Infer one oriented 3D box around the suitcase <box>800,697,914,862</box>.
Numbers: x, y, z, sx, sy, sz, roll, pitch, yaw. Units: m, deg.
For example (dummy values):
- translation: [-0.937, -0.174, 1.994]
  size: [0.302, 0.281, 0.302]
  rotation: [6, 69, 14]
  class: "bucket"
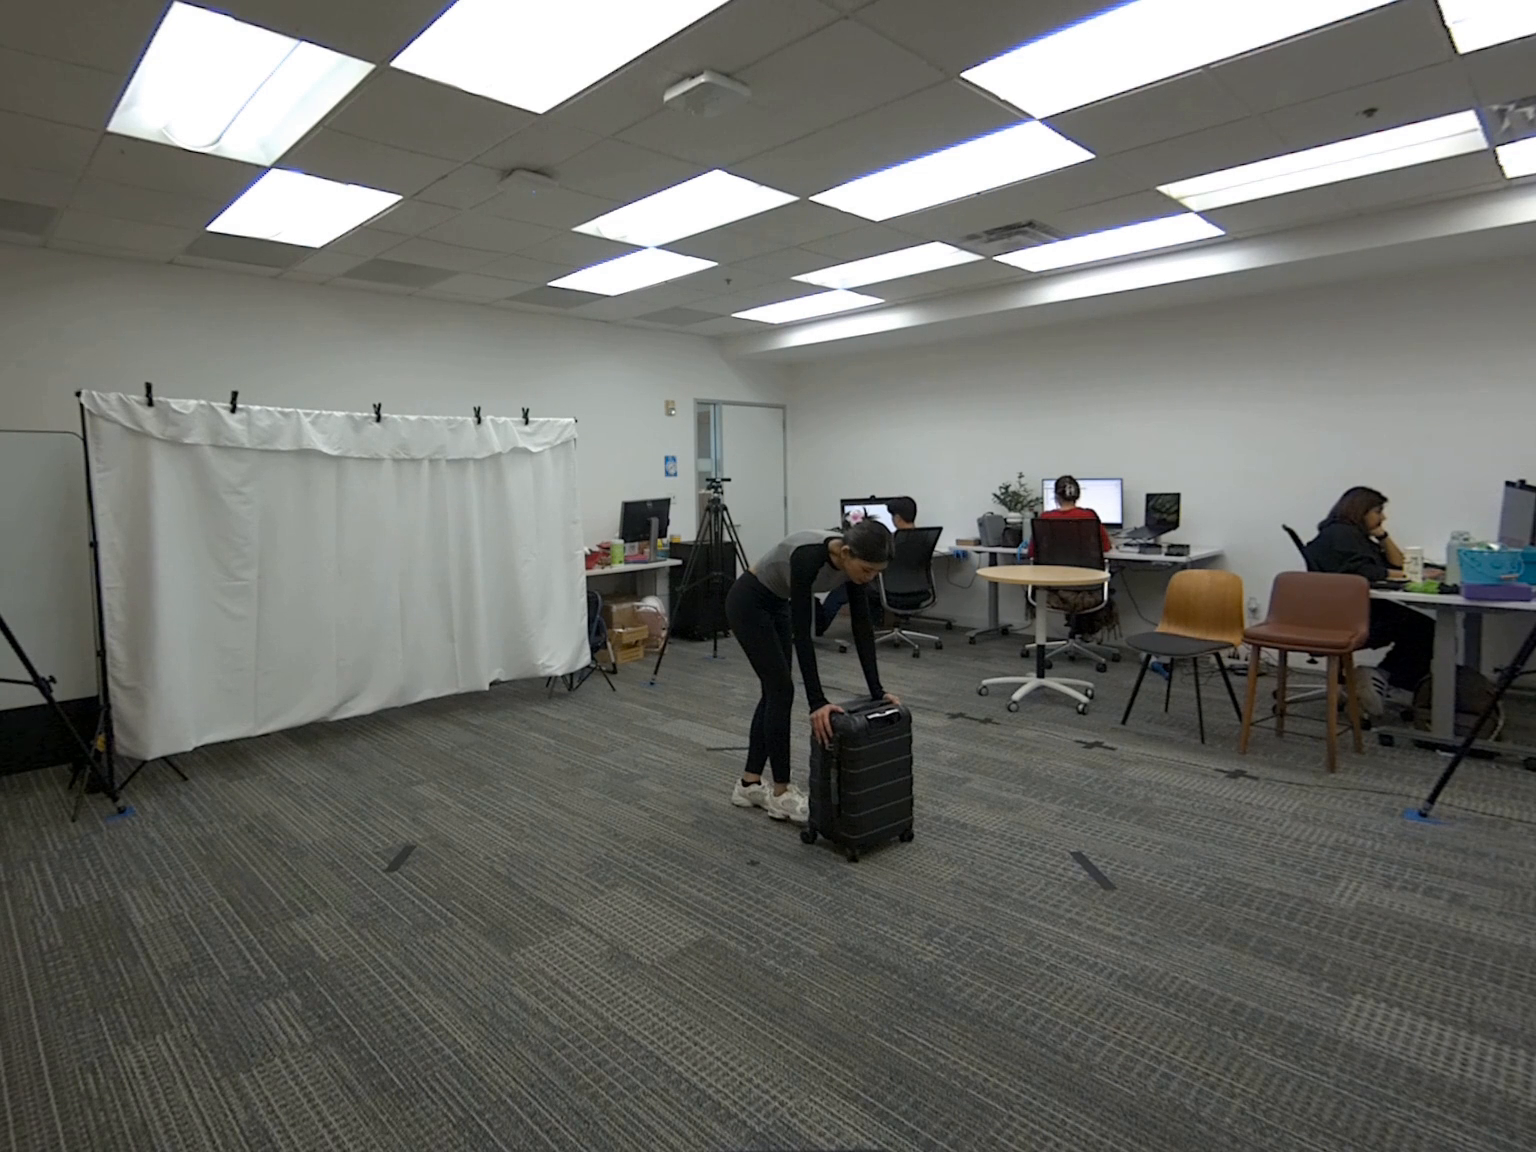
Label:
- translation: [0.358, 0.746, 3.231]
  size: [0.366, 0.547, 0.256]
  rotation: [-4, 7, -37]
  class: "suitcase"
